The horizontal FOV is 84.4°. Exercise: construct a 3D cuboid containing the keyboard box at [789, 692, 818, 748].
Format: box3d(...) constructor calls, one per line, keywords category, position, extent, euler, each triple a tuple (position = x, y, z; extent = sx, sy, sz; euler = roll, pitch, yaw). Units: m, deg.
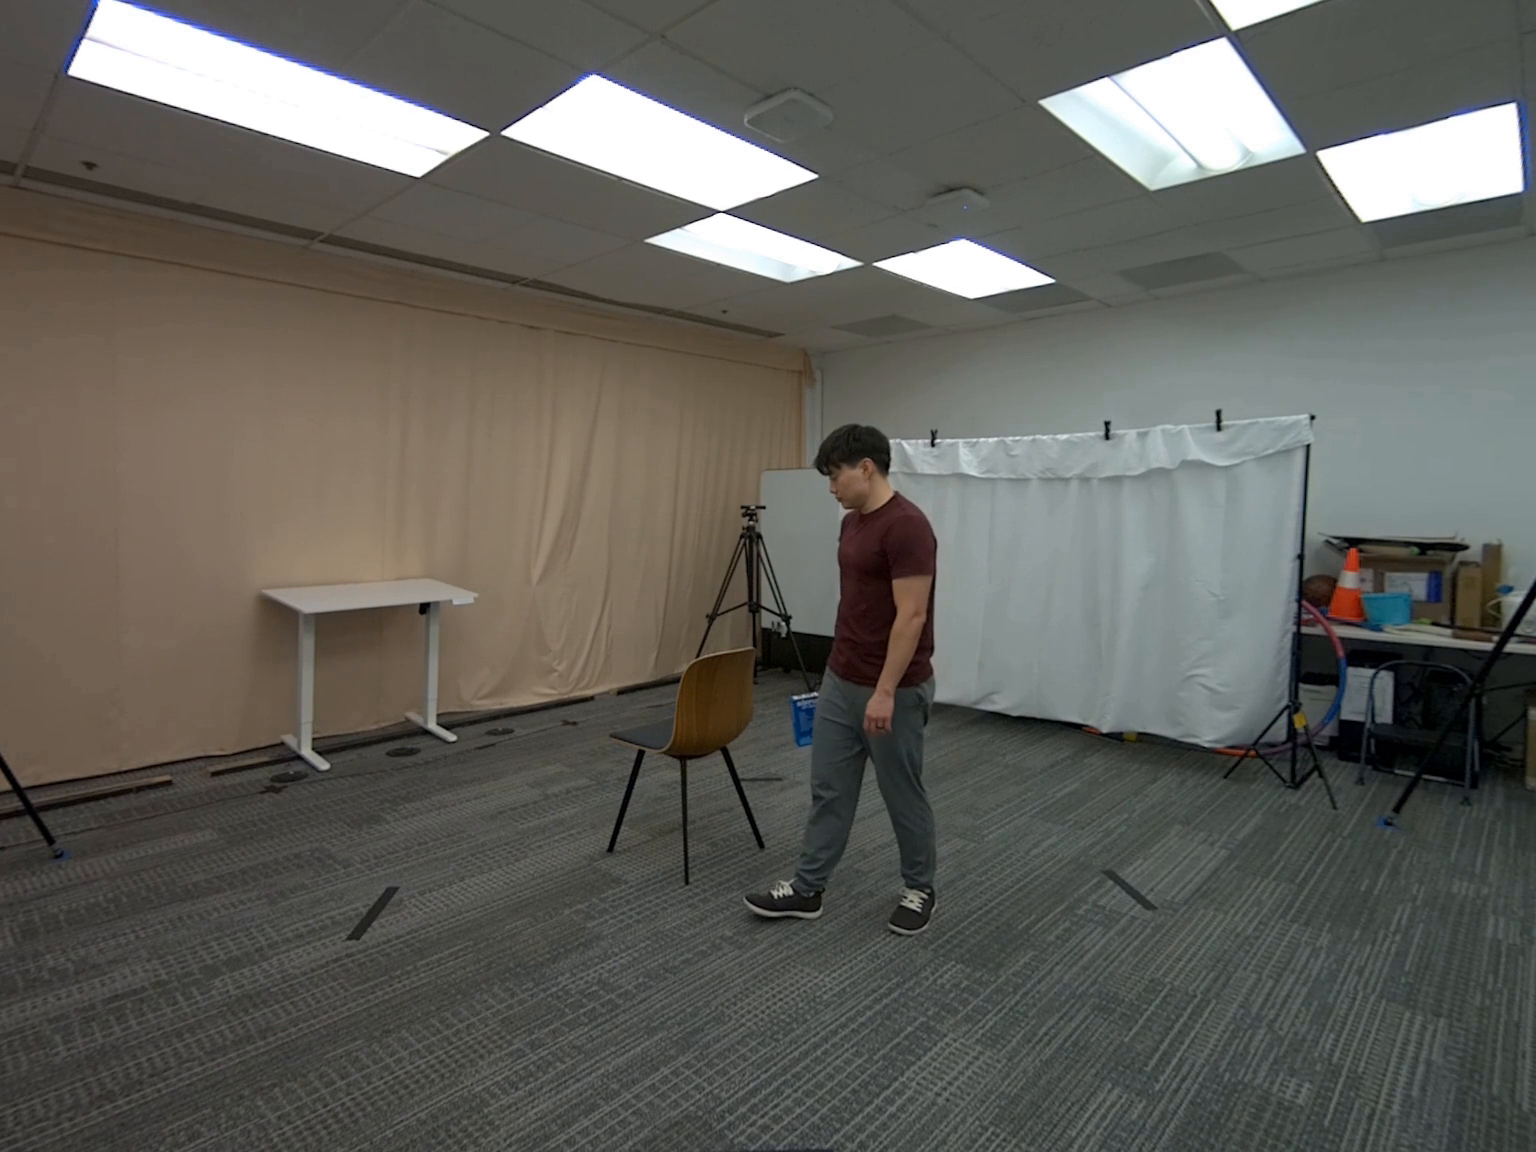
box3d(category="keyboard box", position=(0.303, 0.486, 3.049), extent=(0.433, 0.175, 0.060), euler=(-9, 3, -9))
